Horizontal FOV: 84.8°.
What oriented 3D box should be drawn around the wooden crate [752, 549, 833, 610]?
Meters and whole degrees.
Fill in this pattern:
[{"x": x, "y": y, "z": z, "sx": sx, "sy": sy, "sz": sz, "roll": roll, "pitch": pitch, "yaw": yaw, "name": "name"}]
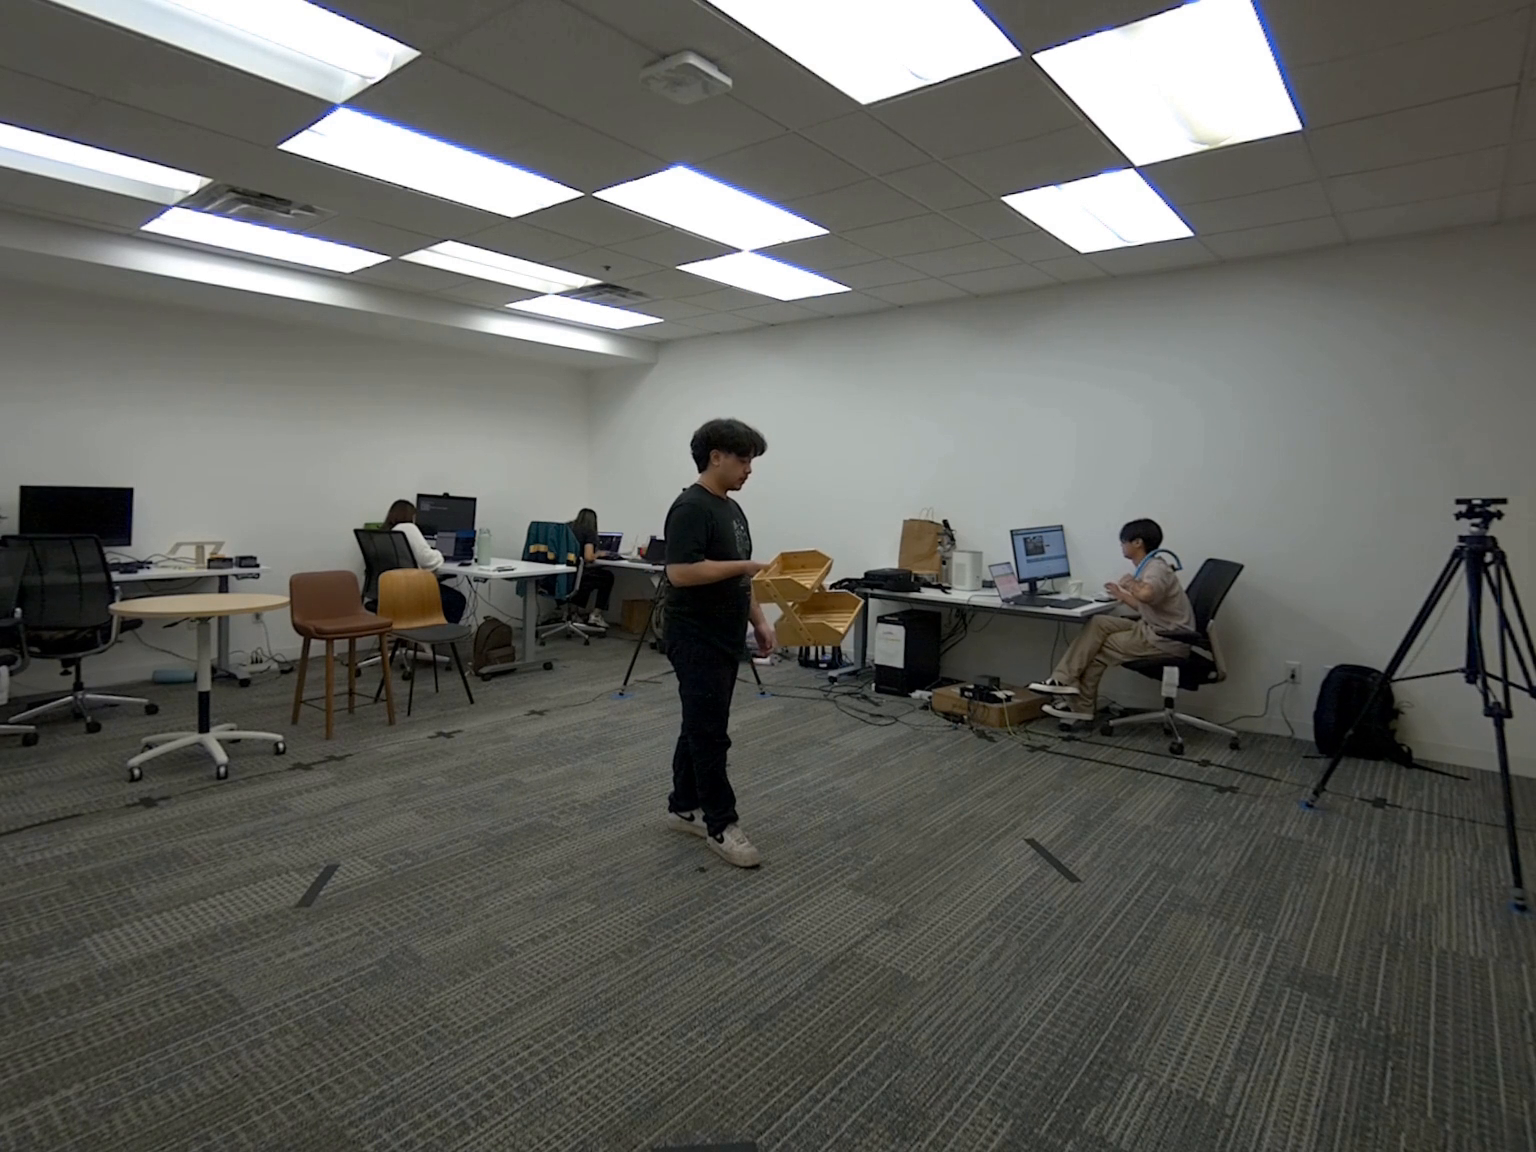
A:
[{"x": 0.148, "y": 0.063, "z": 3.087, "sx": 0.309, "sy": 0.269, "sz": 0.323, "roll": -5, "pitch": 17, "yaw": 24, "name": "wooden crate"}]
